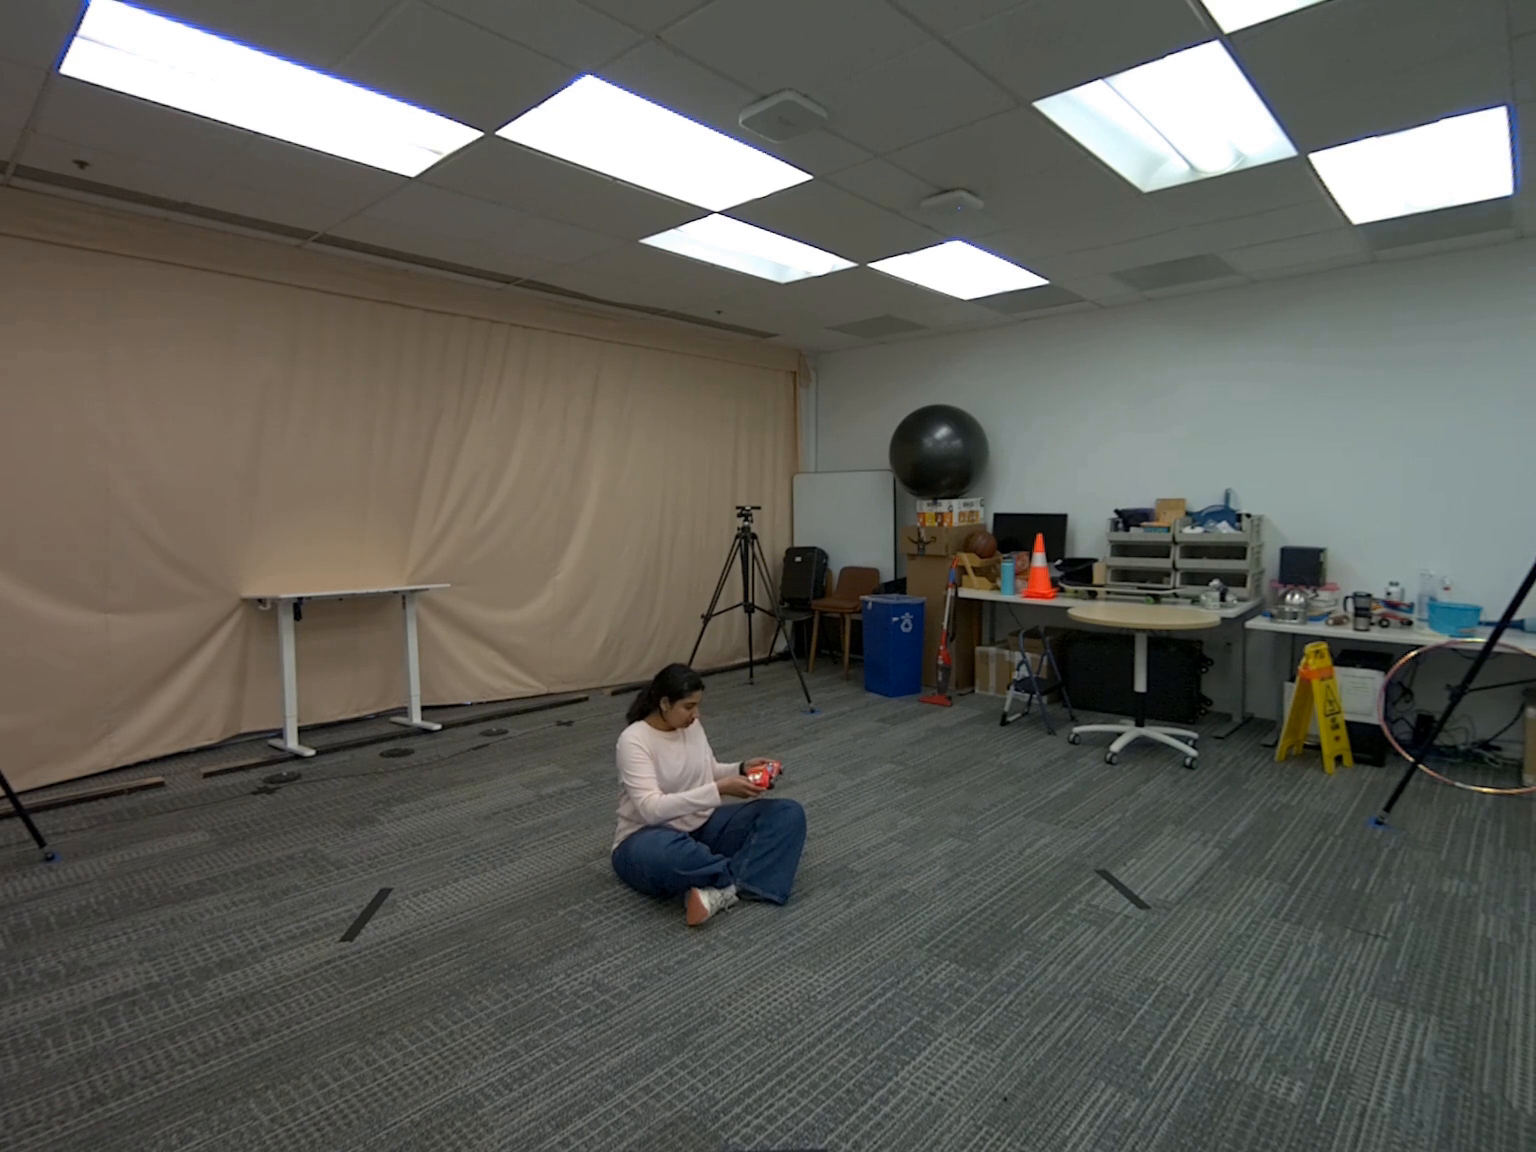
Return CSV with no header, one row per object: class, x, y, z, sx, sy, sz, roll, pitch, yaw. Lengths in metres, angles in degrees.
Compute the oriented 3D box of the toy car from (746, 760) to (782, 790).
toy car,-0.027,0.758,3.156,0.132,0.084,0.248,-17,-8,19
